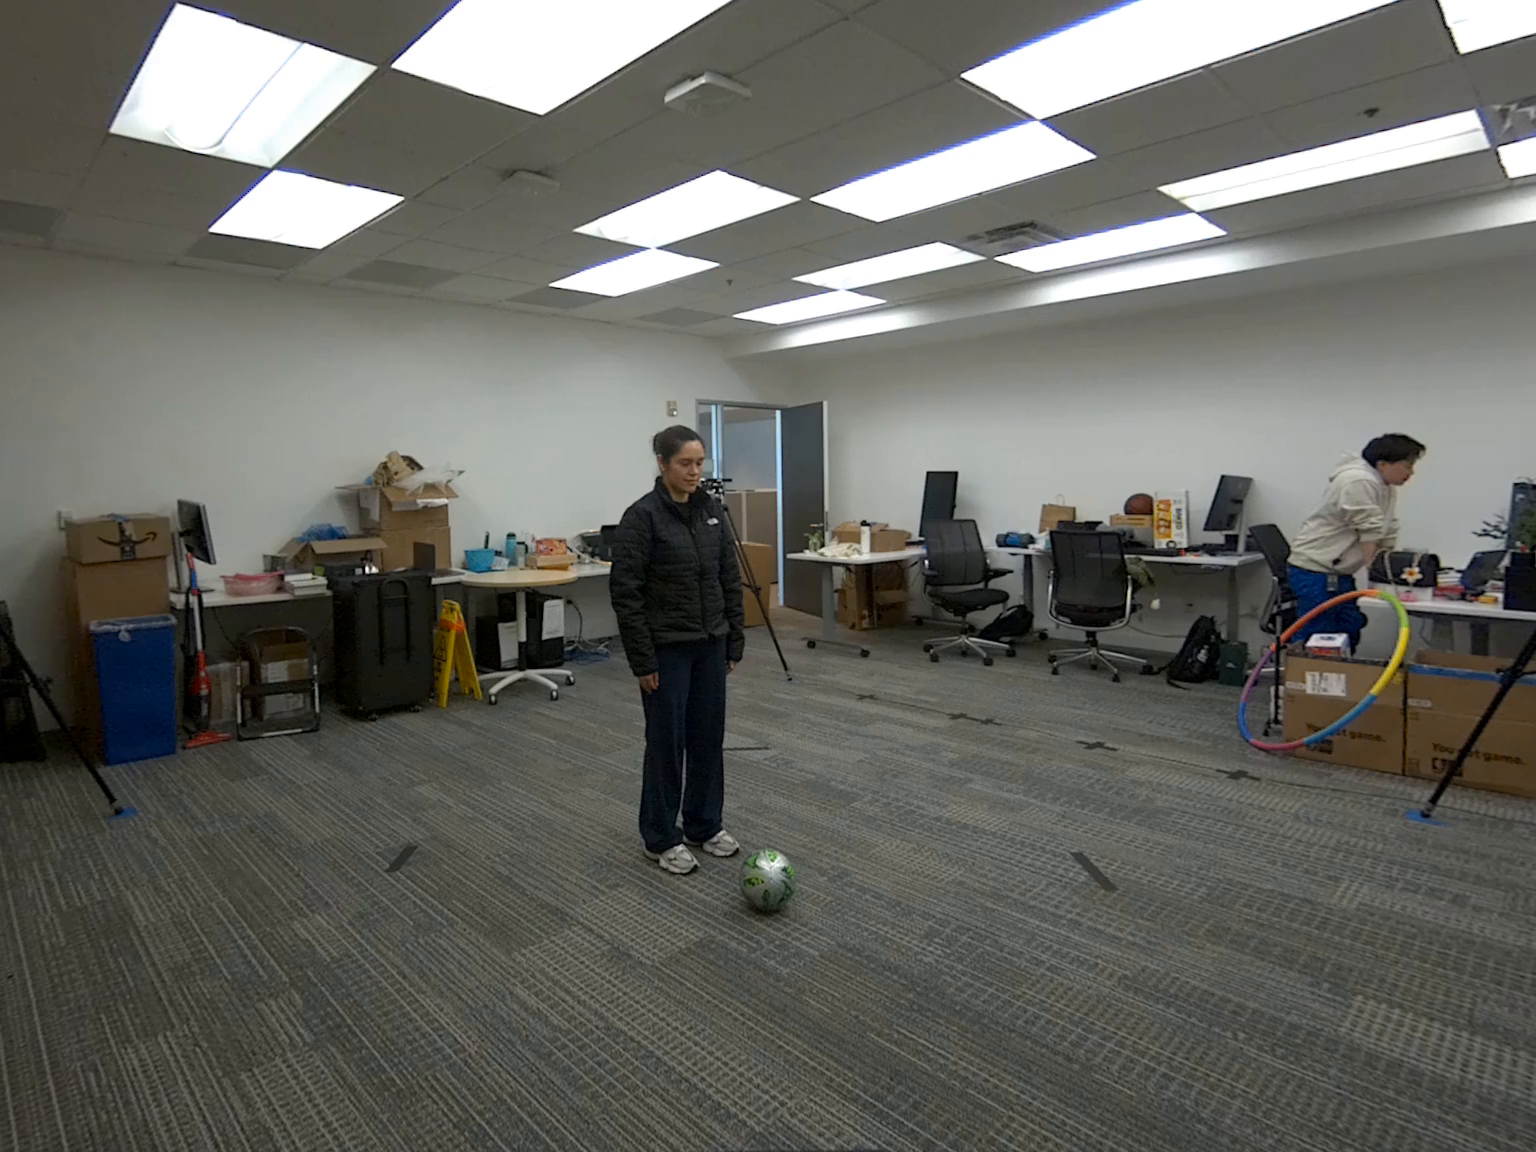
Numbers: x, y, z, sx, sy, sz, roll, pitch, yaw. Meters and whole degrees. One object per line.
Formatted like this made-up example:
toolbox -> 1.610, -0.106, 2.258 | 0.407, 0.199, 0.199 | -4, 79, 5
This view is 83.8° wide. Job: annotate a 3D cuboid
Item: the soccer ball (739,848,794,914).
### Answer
soccer ball -> 0.004, 0.987, 2.780 | 0.187, 0.187, 0.188 | -1, 5, -2
